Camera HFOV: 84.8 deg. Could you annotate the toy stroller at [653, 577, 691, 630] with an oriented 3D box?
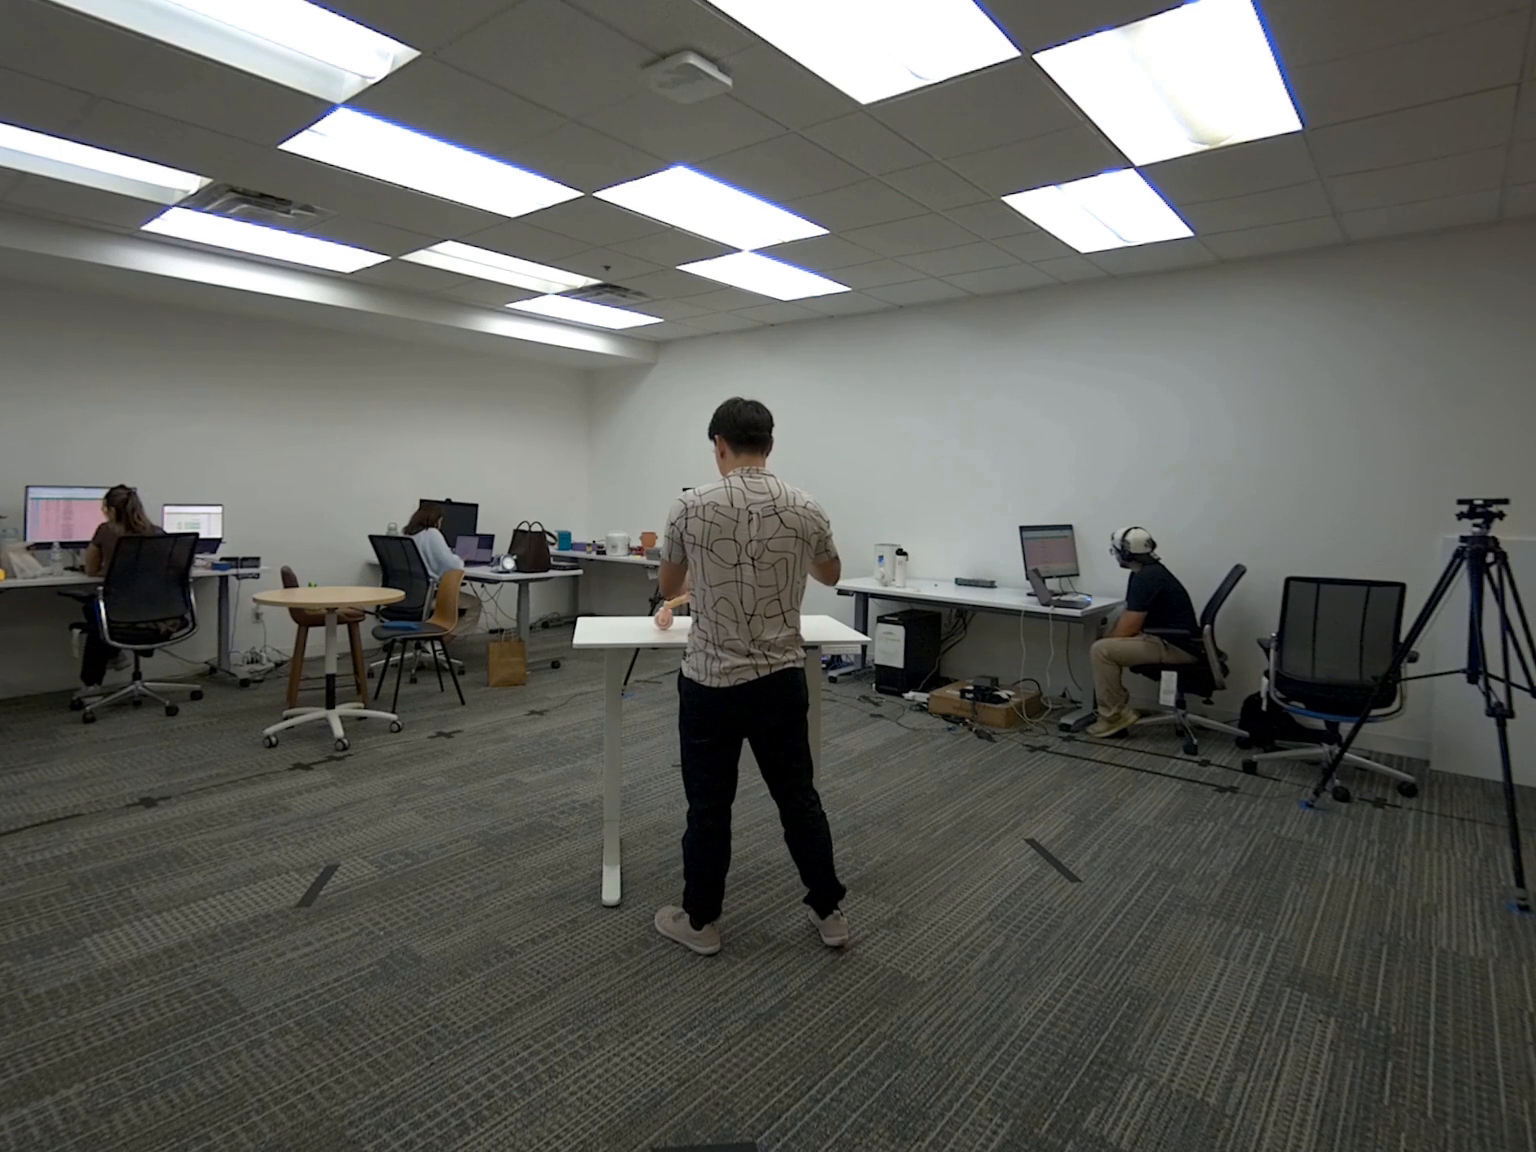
[{"bbox_3d":[-0.184,-0.026,3.019,0.346,0.533,0.279,16,6,10],"label":"toy stroller"}]
